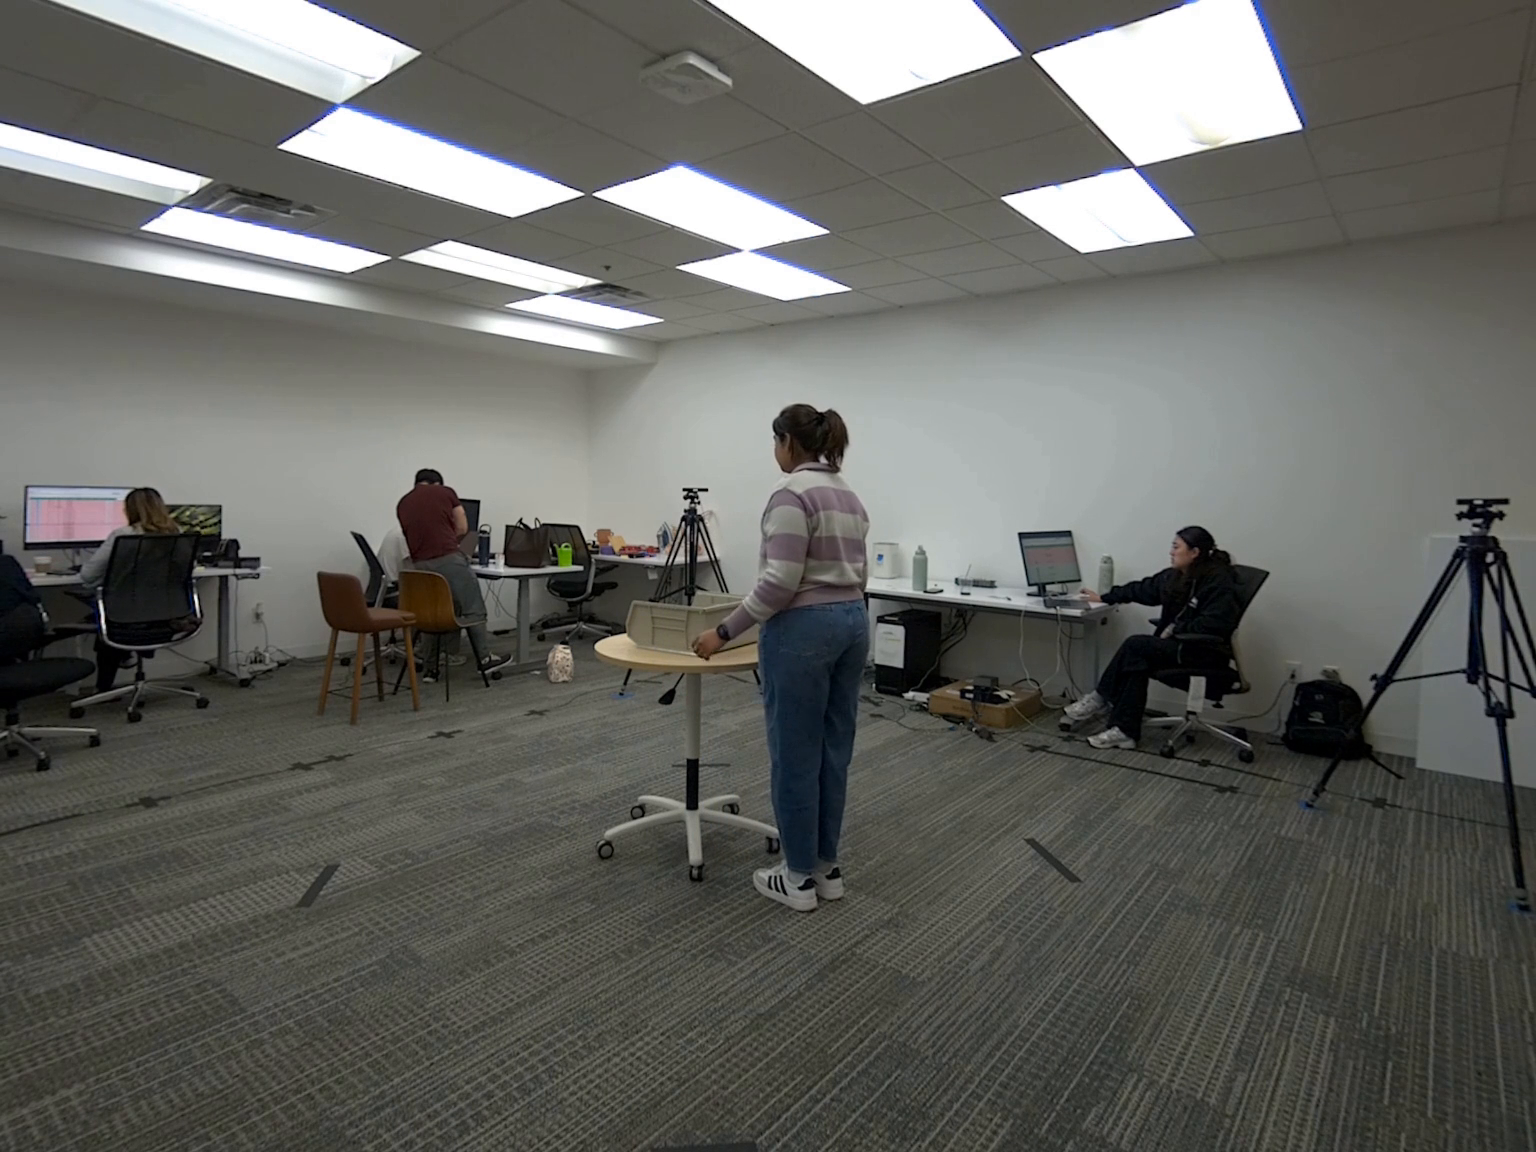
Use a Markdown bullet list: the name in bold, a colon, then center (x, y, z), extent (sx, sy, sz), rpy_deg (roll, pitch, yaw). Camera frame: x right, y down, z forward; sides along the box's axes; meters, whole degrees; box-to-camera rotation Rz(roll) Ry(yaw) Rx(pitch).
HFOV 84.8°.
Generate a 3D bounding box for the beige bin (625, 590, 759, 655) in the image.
- **beige bin**: center (-0.288, 0.174, 3.317), extent (0.389, 0.188, 0.411), rpy_deg (6, 7, 32)
